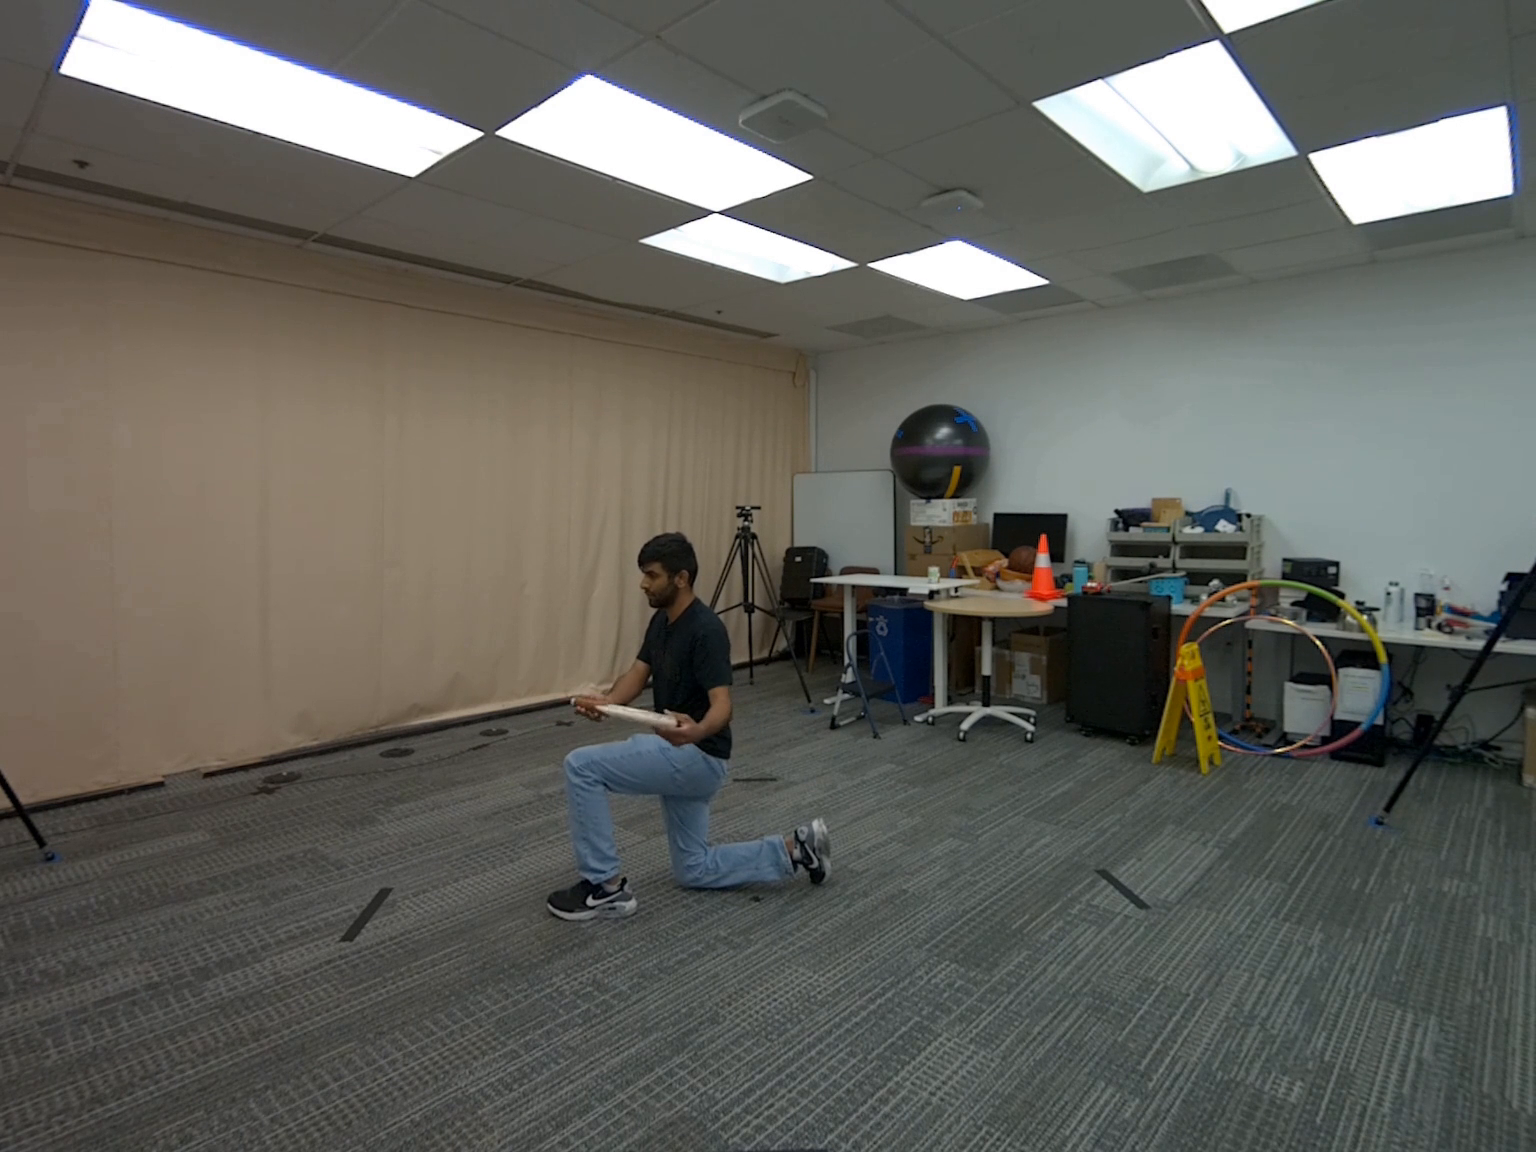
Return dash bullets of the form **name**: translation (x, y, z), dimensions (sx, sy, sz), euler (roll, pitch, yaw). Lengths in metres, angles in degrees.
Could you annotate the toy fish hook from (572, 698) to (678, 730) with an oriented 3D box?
- **toy fish hook**: translation (-0.494, 0.401, 2.575), dimensions (0.523, 0.048, 0.216), euler (2, -20, 43)
